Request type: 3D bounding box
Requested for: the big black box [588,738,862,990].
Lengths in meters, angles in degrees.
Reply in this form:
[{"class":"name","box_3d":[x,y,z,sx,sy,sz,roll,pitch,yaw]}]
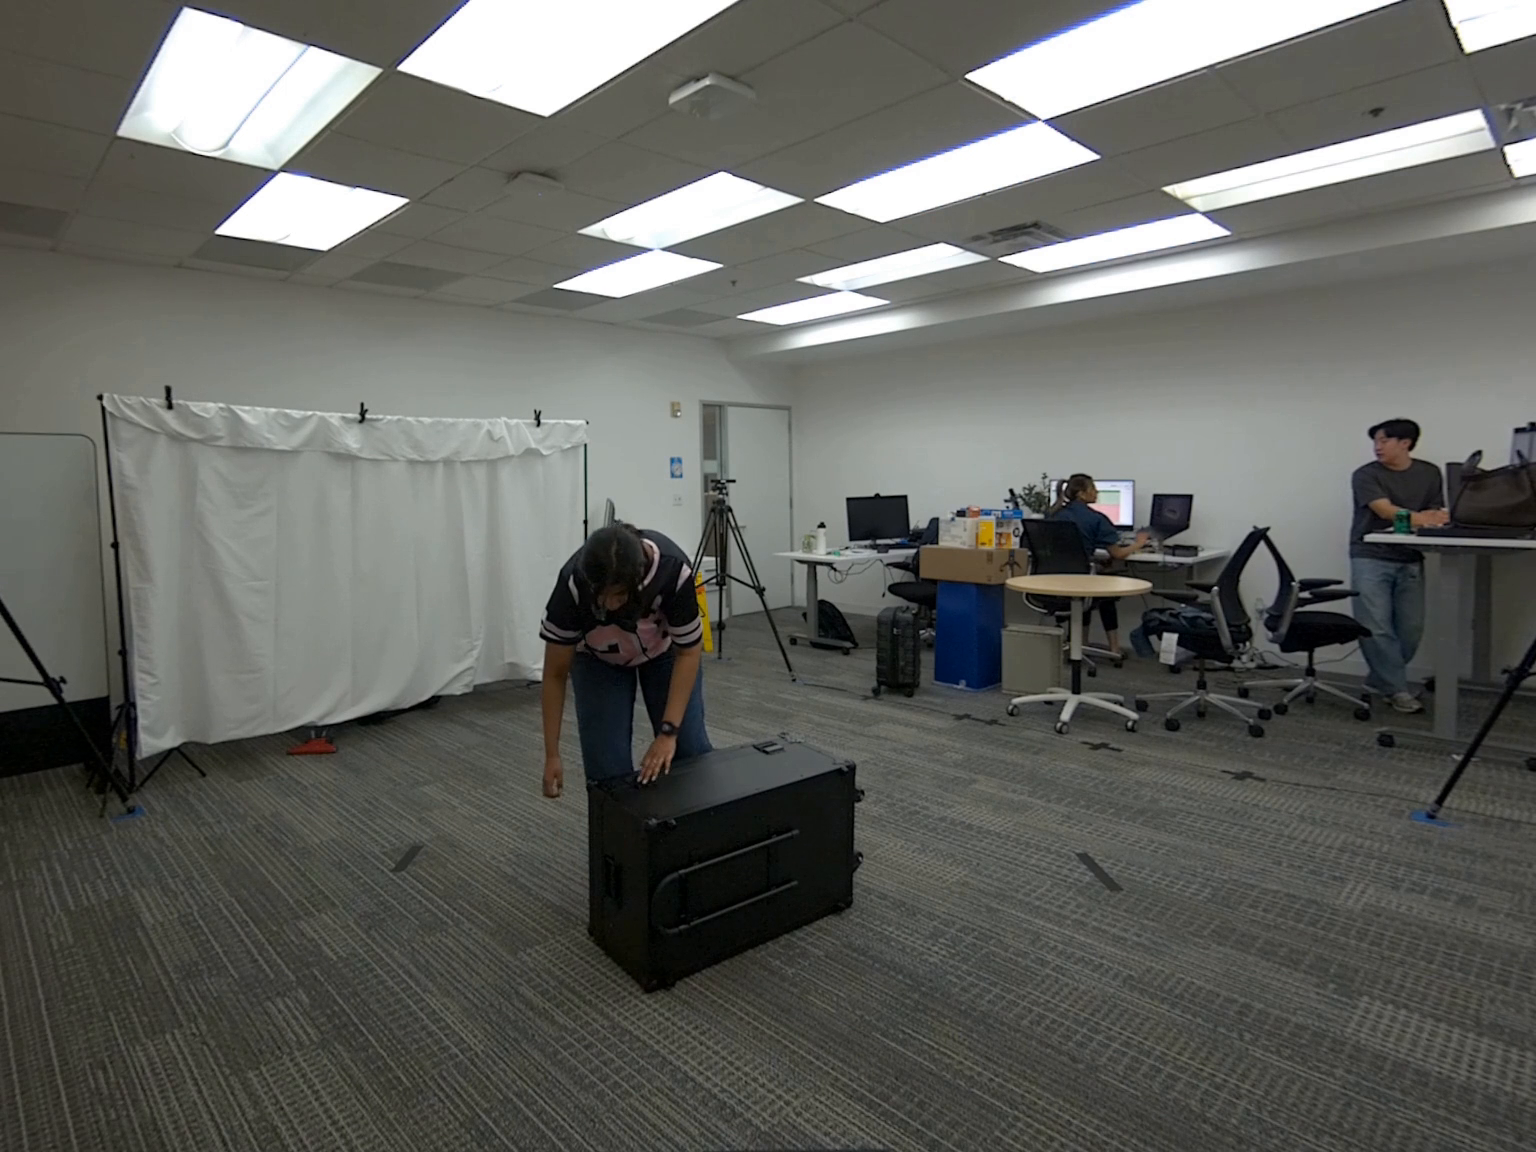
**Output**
[{"class":"big black box","box_3d":[-0.097,0.838,2.689,0.846,0.521,0.397,-6,7,-38]}]
